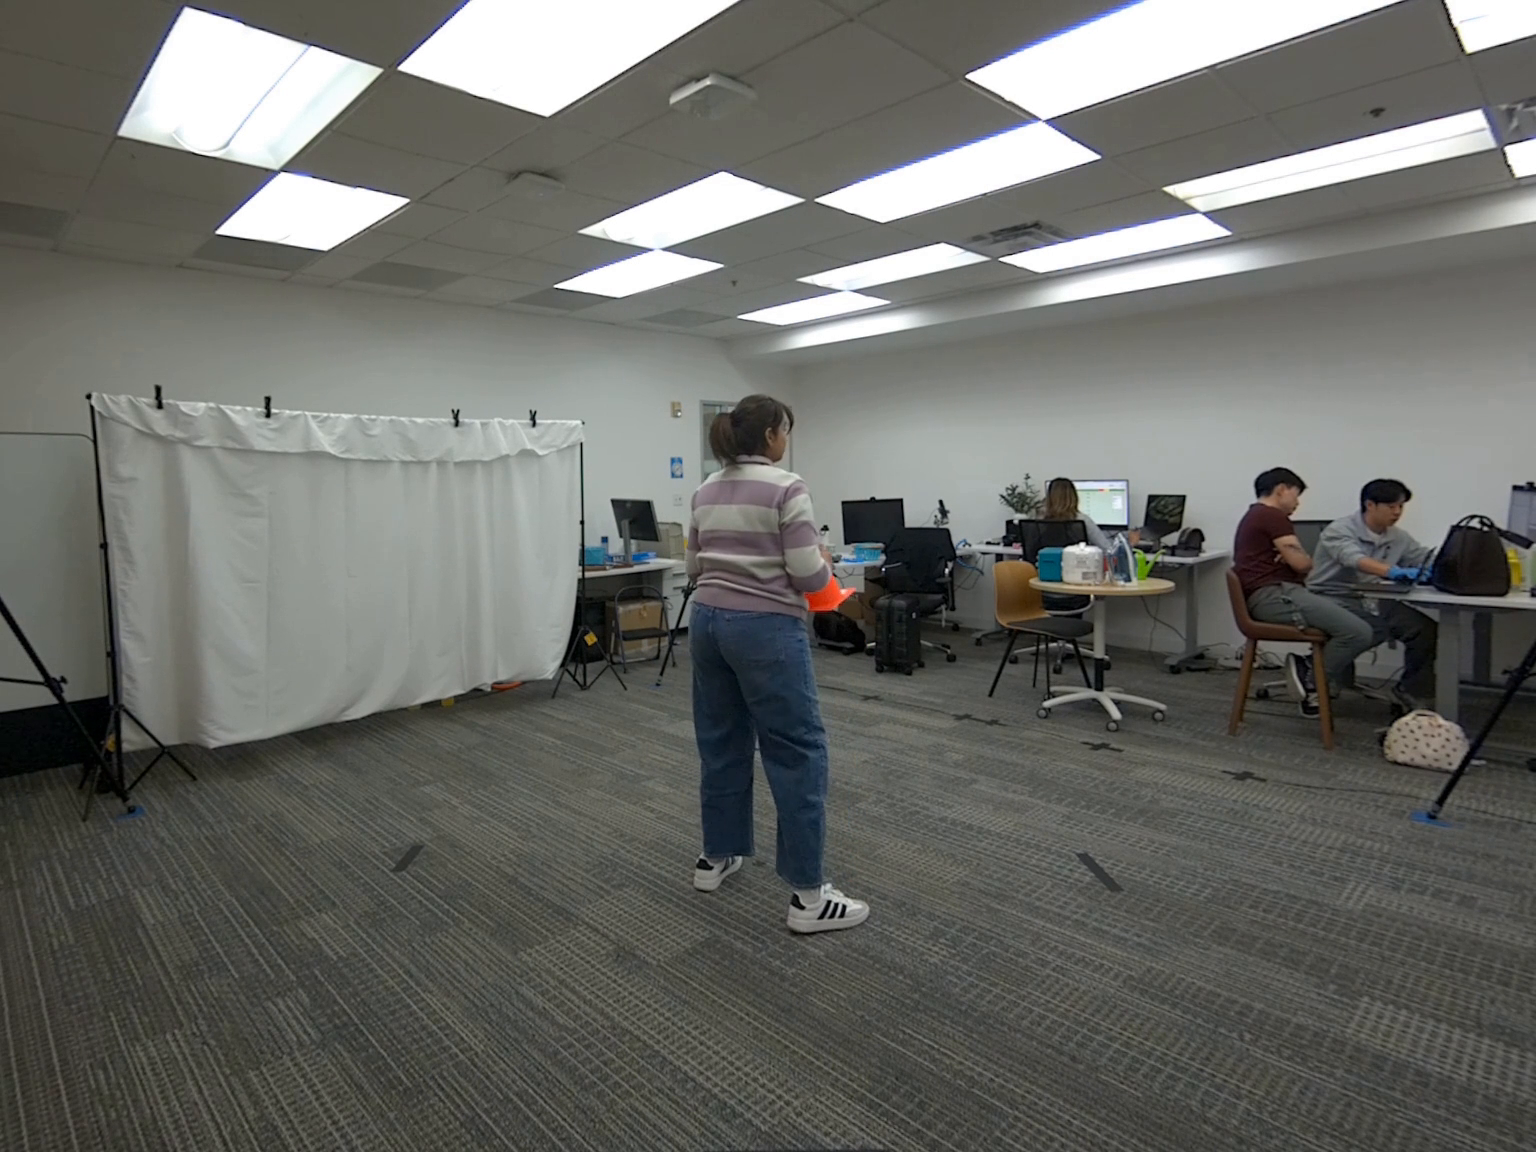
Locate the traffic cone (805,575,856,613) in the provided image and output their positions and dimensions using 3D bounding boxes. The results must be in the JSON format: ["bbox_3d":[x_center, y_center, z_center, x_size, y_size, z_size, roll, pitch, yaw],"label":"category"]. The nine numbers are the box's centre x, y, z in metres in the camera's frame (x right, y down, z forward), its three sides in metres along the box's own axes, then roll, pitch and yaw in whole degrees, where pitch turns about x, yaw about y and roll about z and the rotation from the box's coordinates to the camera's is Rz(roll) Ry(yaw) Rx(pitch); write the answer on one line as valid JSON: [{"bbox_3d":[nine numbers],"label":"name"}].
[{"bbox_3d":[0.152,-0.084,3.002,0.210,0.379,0.201,-5,14,31],"label":"traffic cone"}]
